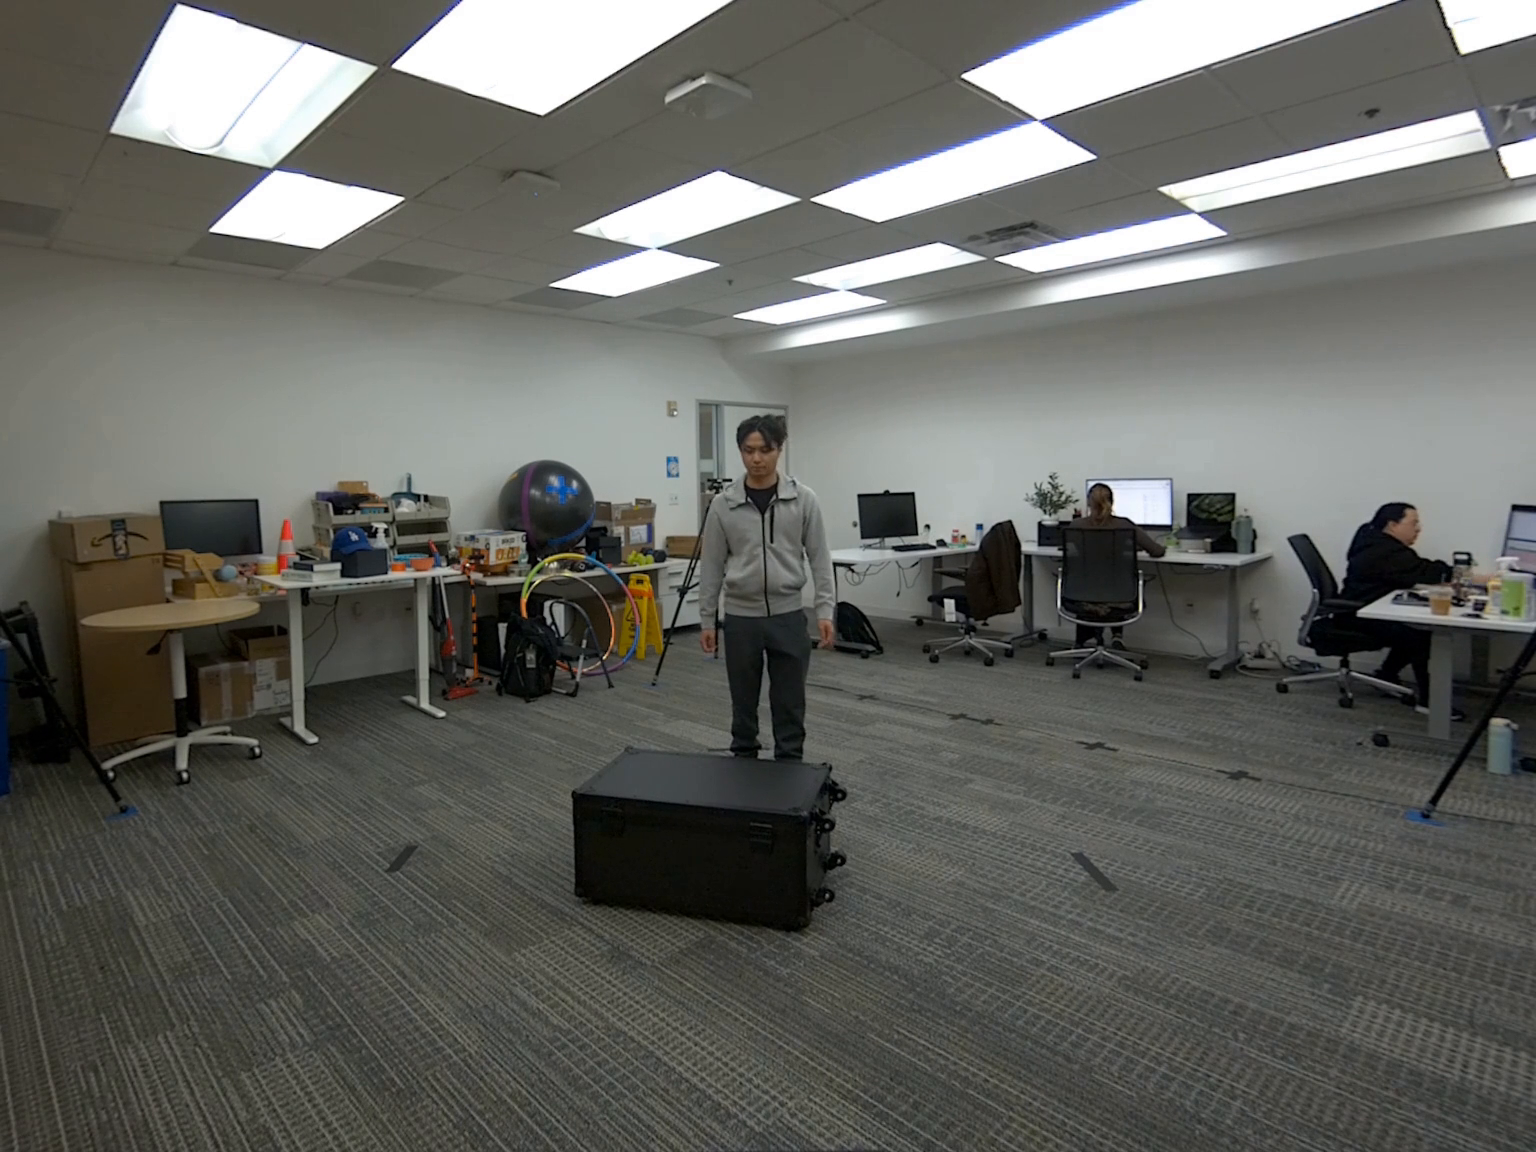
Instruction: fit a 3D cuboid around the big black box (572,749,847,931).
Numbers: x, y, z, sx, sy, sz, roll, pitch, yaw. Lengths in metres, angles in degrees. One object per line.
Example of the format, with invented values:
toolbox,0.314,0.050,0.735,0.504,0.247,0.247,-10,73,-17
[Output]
big black box,-0.180,0.874,2.927,0.875,0.395,0.515,0,5,16
